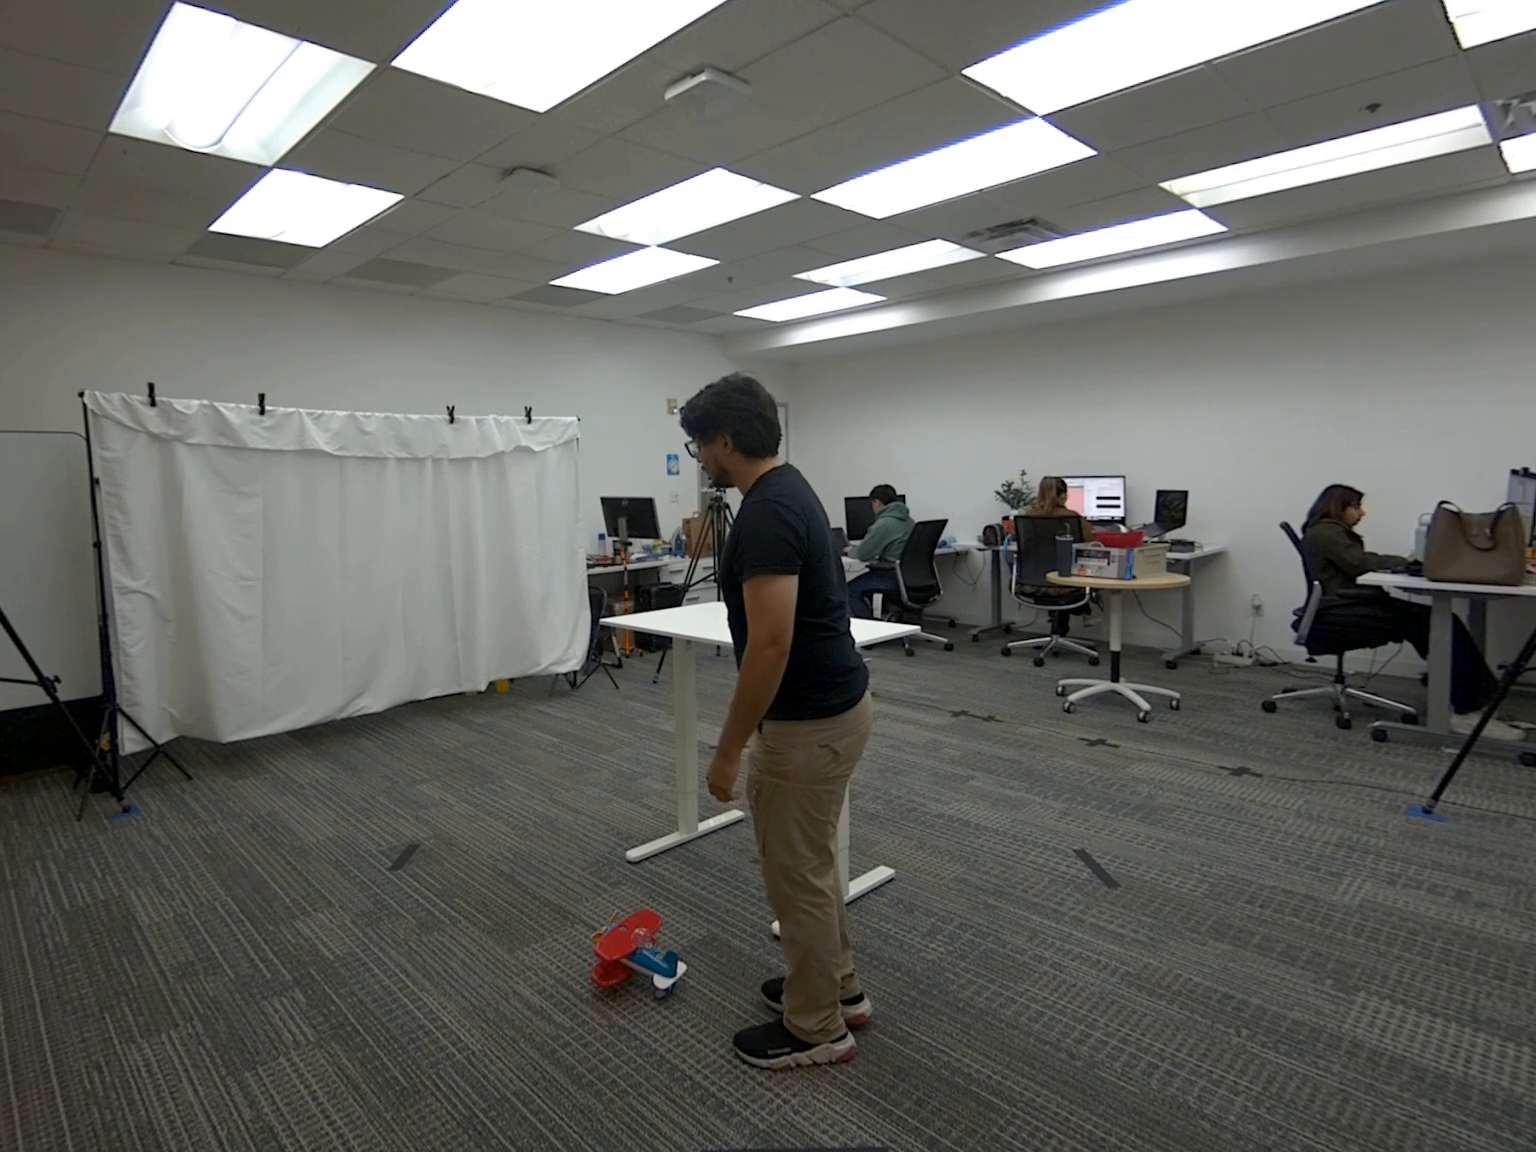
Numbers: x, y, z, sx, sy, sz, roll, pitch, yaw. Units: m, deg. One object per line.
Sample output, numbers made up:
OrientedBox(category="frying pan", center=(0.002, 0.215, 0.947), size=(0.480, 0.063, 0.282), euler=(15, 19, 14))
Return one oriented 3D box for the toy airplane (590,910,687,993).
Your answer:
OrientedBox(category="toy airplane", center=(-0.349, 1.059, 2.383), size=(0.259, 0.155, 0.252), euler=(-3, 7, 0))
